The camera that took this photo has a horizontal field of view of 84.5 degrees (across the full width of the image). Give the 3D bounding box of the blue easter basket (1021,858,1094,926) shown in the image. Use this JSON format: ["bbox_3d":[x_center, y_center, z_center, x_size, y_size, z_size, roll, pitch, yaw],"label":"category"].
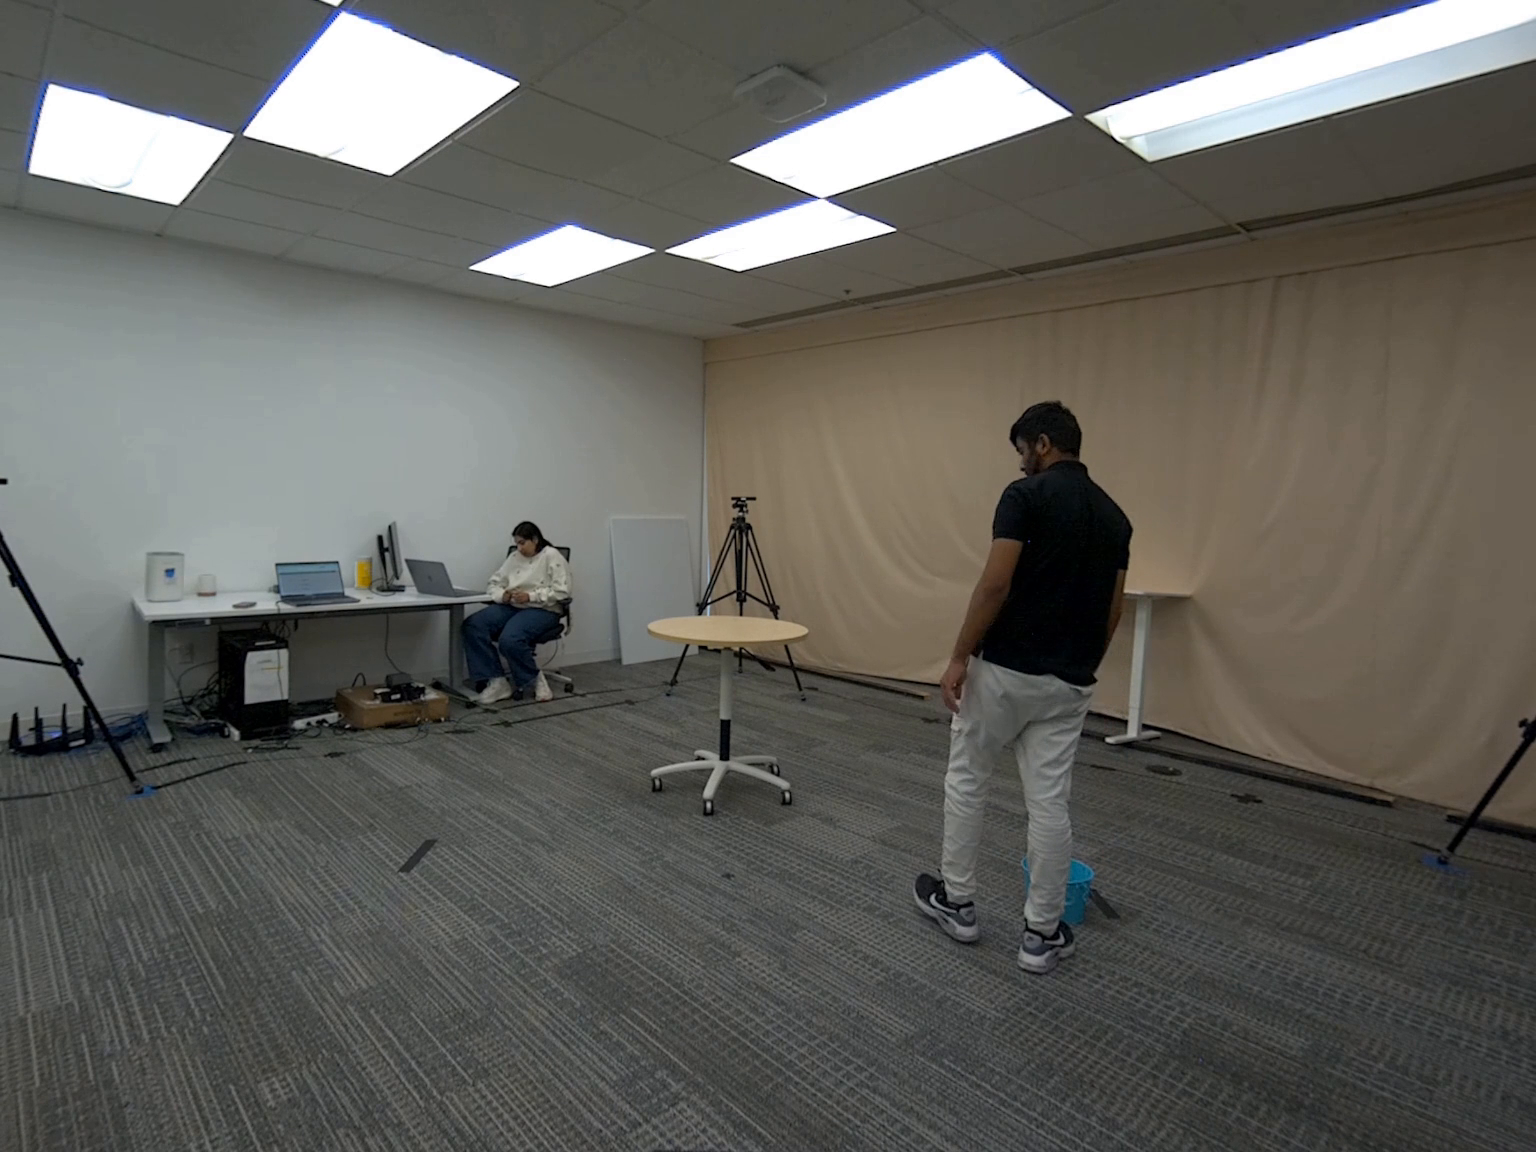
[{"bbox_3d":[0.988,1.078,2.898,0.243,0.155,0.244,1,4,-1],"label":"blue easter basket"}]
